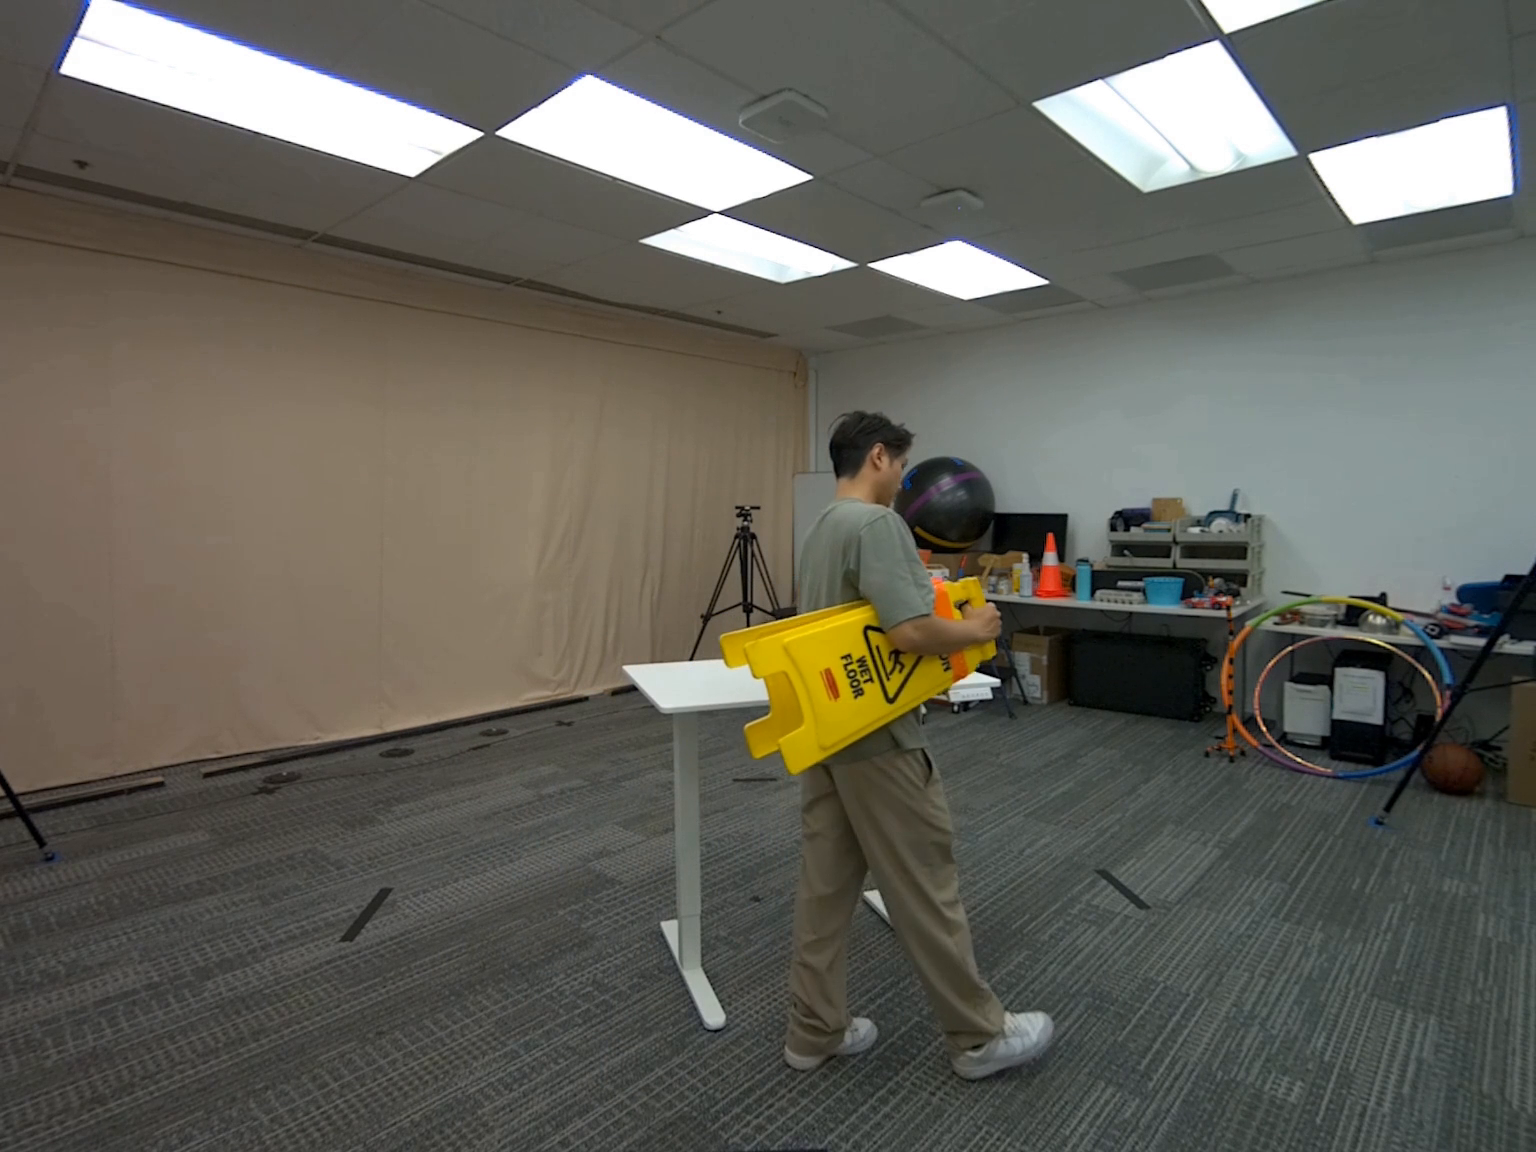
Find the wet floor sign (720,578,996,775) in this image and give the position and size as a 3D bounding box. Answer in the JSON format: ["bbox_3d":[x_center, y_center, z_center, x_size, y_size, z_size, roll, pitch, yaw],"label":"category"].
[{"bbox_3d":[0.248,0.199,1.893,0.635,0.281,0.296,-17,7,-22],"label":"wet floor sign"}]
